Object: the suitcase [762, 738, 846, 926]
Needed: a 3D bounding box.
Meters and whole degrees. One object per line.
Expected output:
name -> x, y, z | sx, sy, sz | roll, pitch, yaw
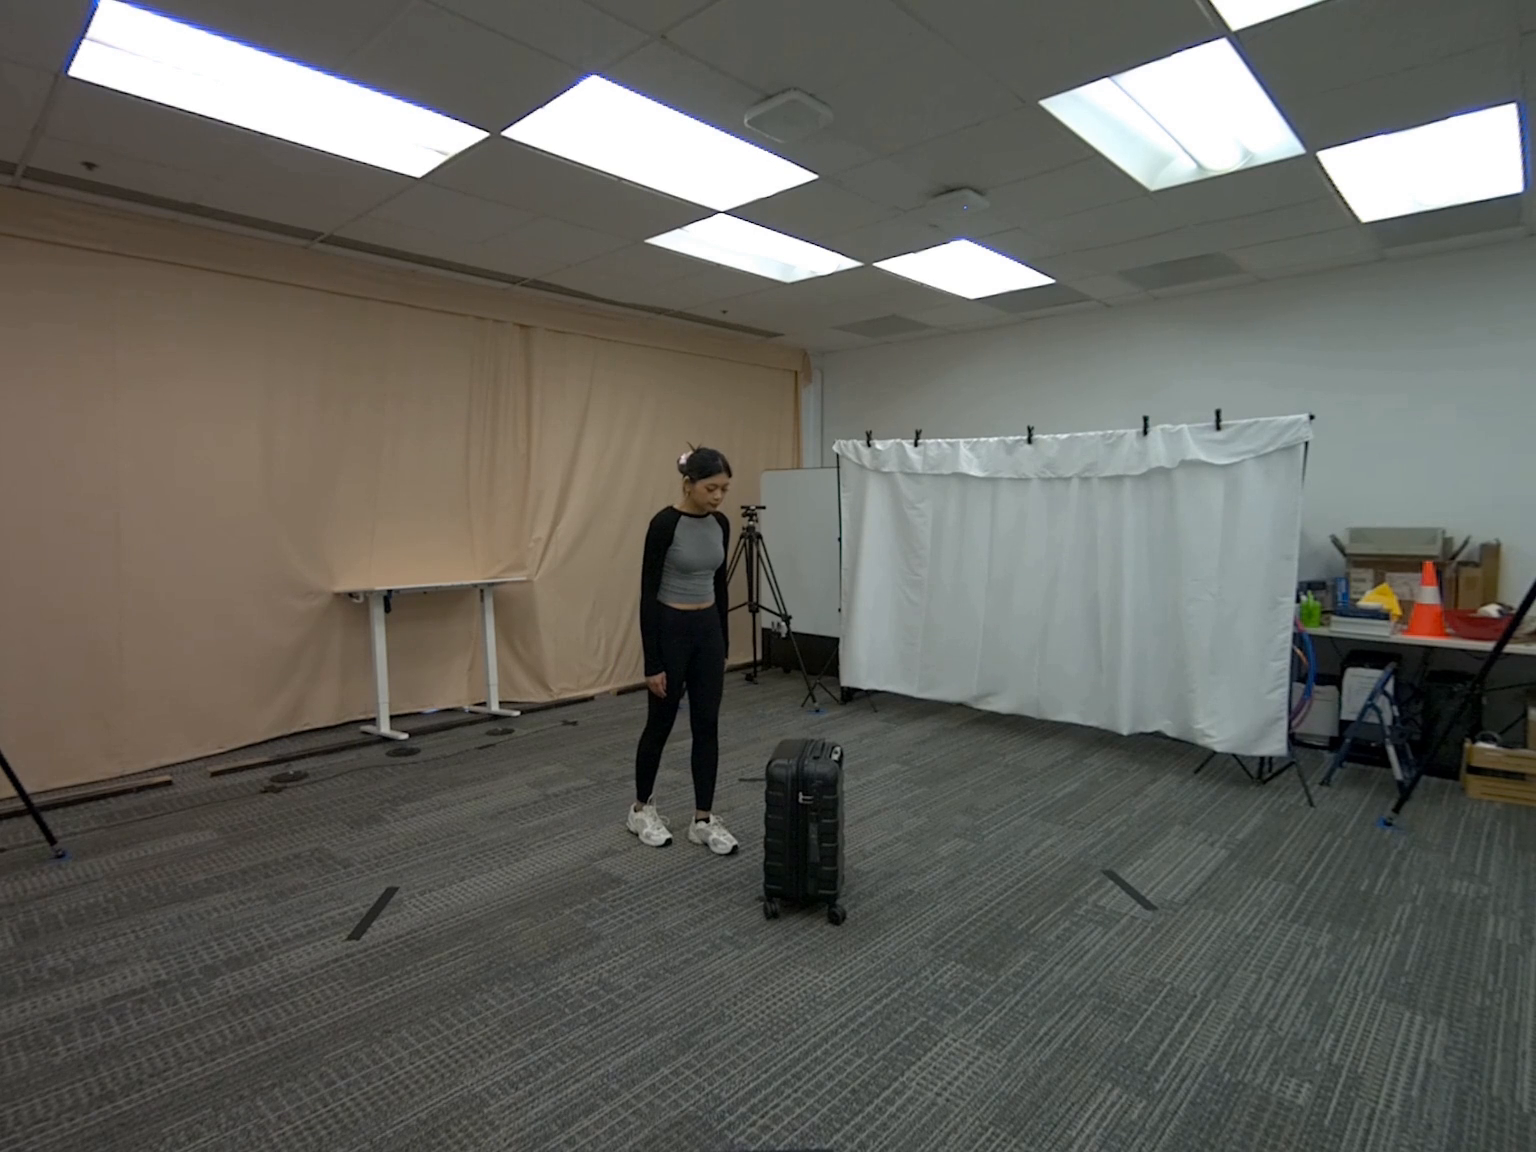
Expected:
suitcase -> 0.133, 0.867, 2.970 | 0.252, 0.548, 0.371 | 1, 4, 12
